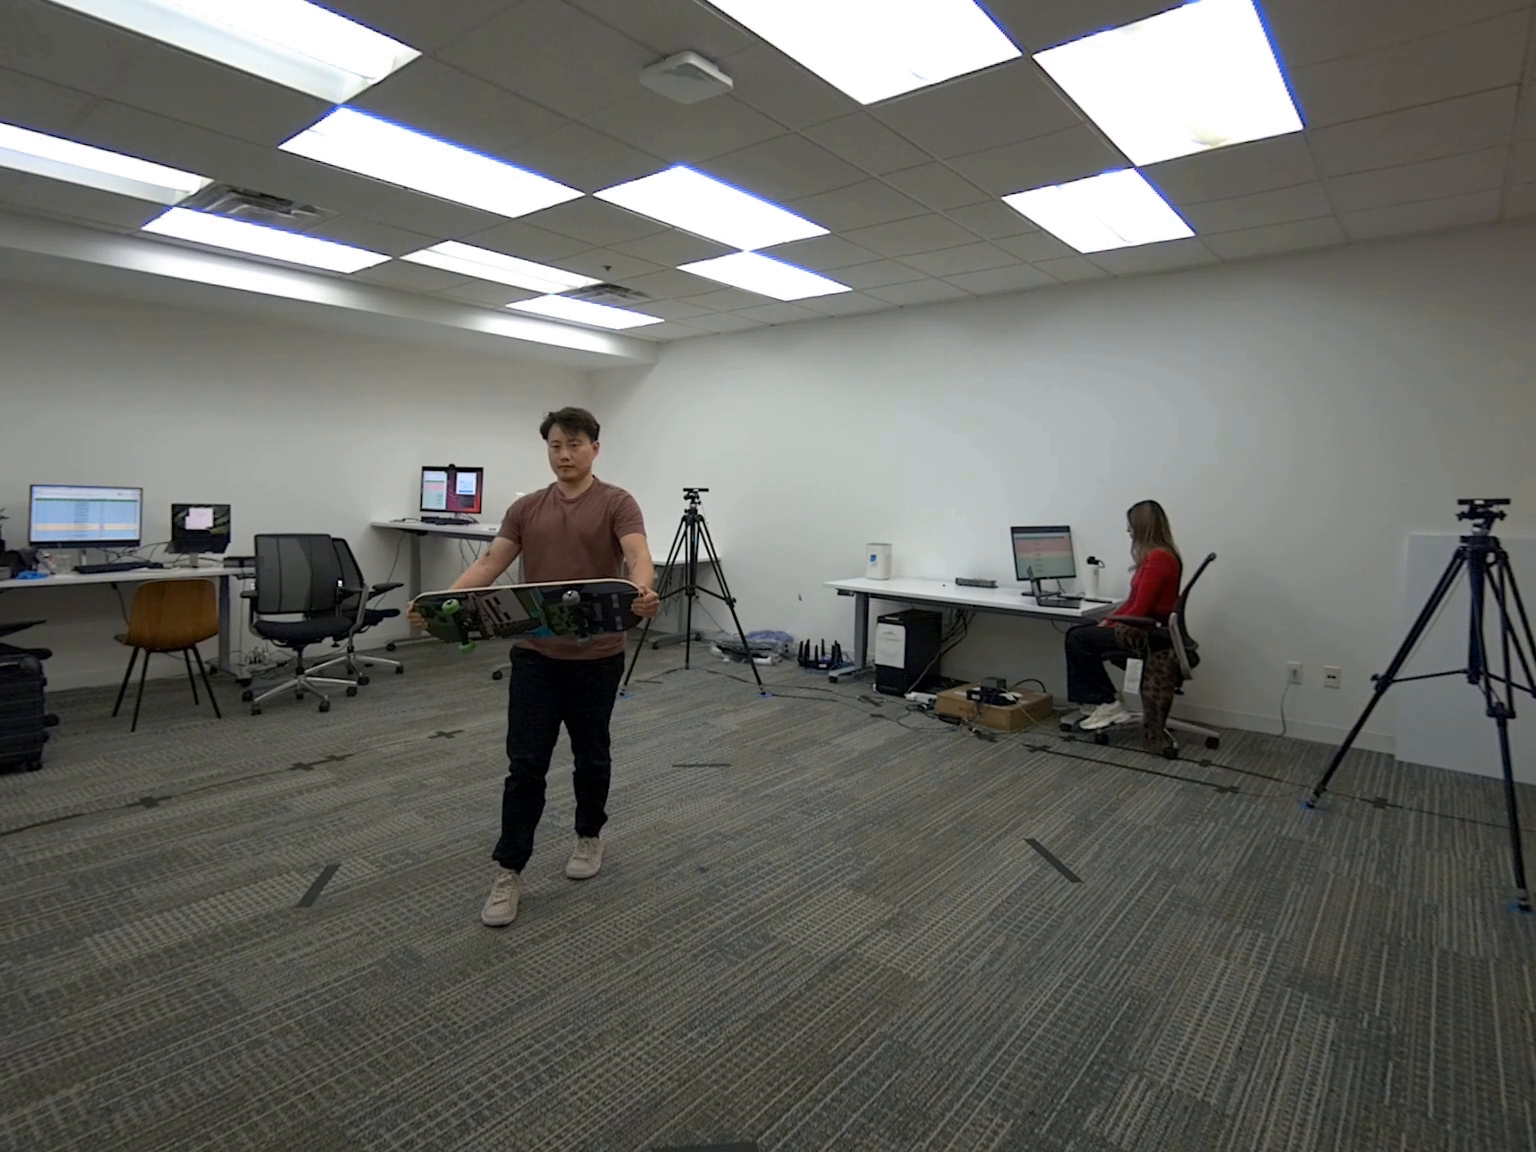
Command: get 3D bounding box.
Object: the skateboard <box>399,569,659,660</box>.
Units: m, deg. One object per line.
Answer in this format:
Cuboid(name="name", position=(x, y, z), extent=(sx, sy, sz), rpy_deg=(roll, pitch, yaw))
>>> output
Cuboid(name="skateboard", position=(-0.747, 0.120, 2.605), extent=(0.797, 0.189, 0.111), rpy_deg=(-6, 19, 15))
